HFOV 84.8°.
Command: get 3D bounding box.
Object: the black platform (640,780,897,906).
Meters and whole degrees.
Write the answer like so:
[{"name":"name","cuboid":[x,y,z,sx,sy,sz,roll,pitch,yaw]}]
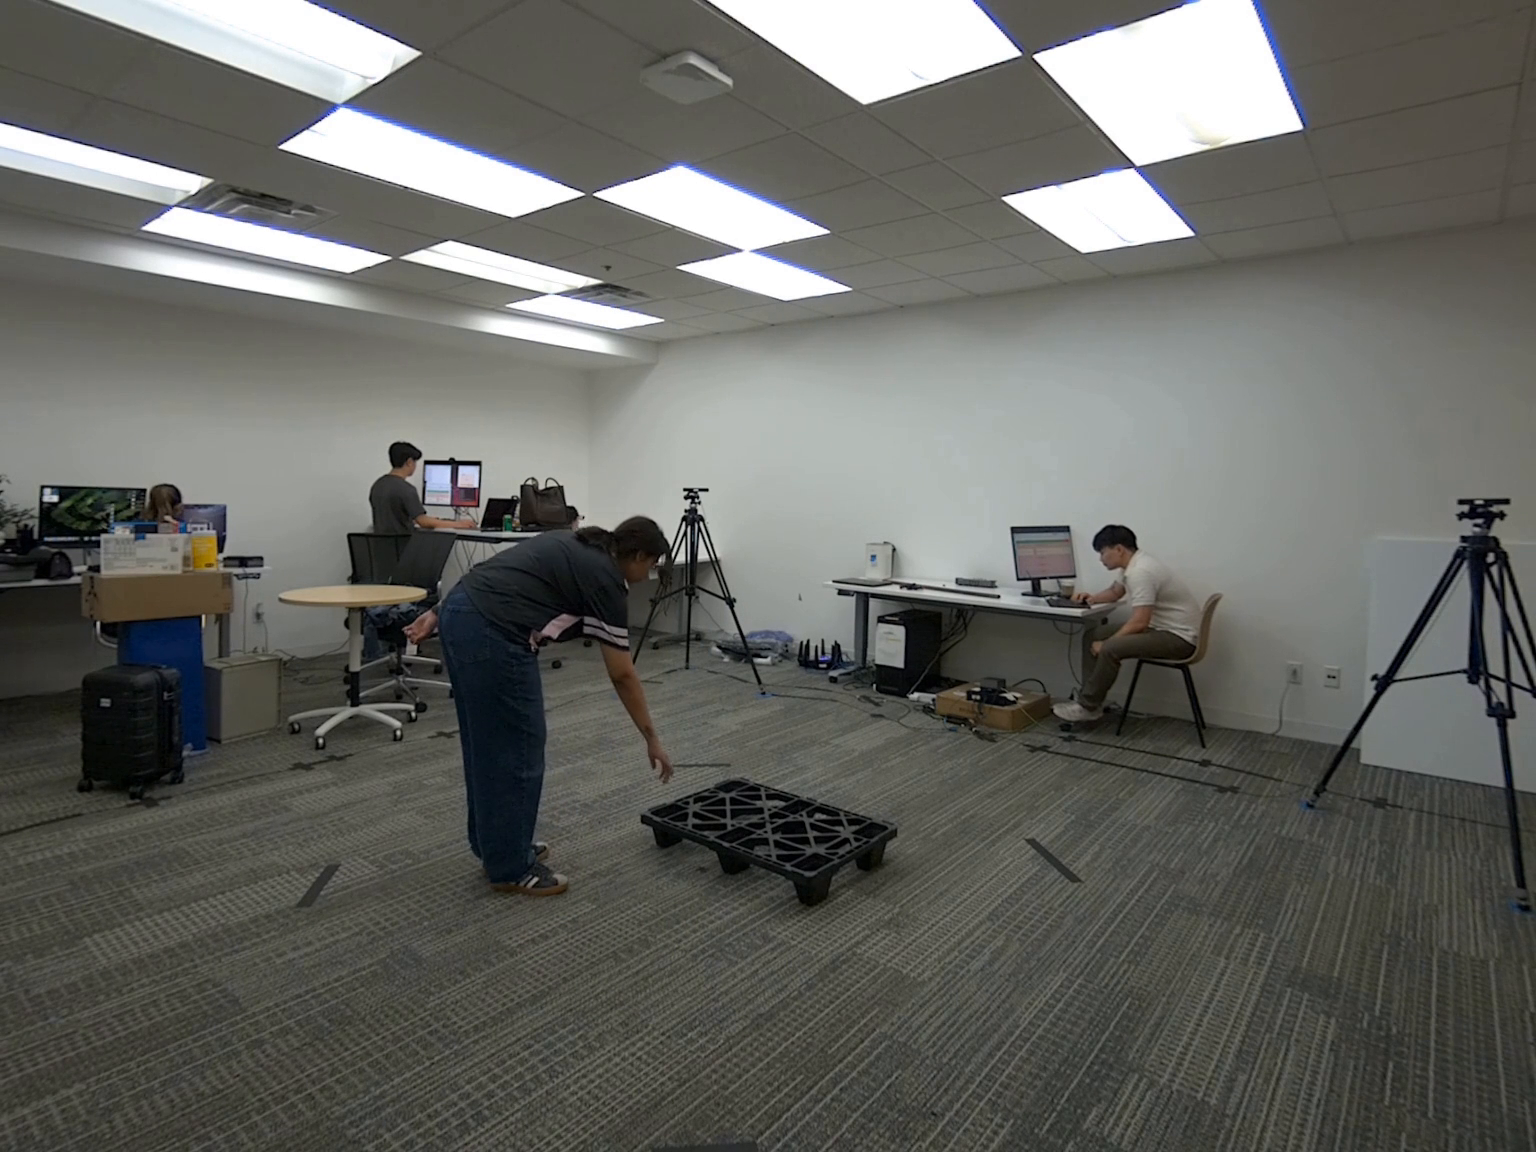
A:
[{"name":"black platform","cuboid":[-0.013,0.993,3.253,0.833,0.143,0.587,6,7,39]}]
